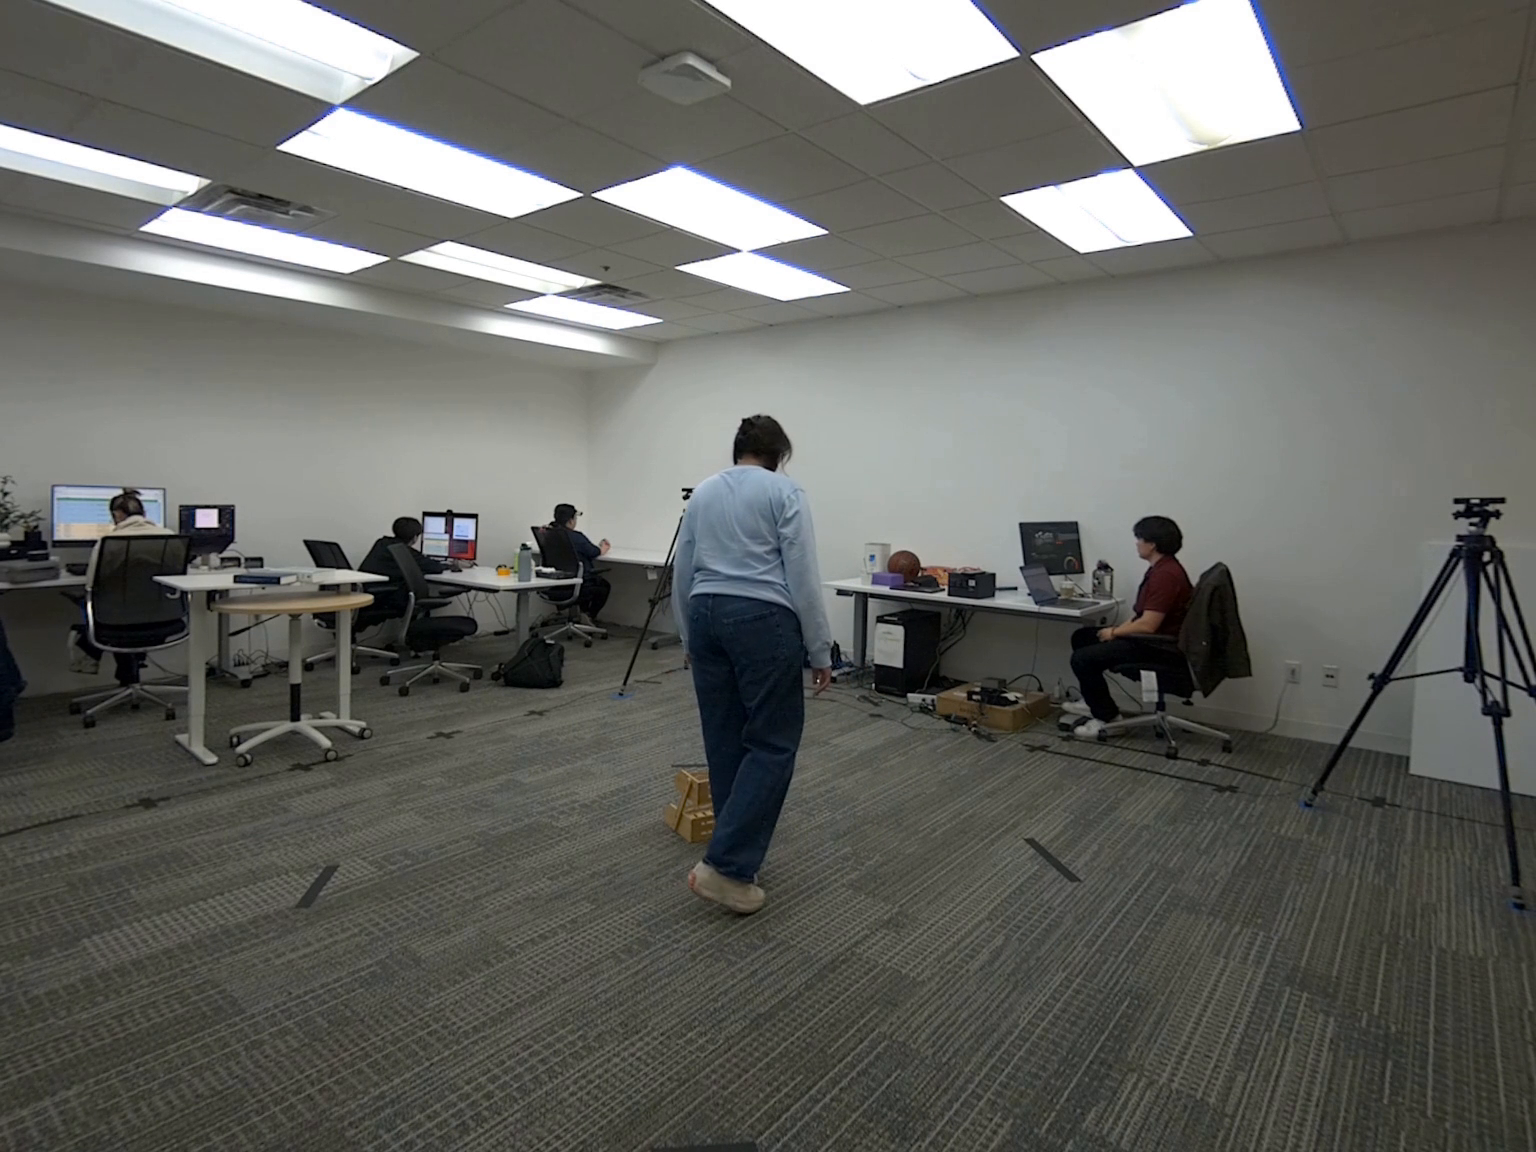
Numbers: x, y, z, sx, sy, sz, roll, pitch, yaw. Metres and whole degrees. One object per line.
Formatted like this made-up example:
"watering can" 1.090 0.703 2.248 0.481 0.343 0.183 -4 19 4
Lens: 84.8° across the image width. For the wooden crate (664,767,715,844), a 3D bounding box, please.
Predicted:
"wooden crate" -0.242 0.895 3.495 0.315 0.272 0.312 -2 6 -32
